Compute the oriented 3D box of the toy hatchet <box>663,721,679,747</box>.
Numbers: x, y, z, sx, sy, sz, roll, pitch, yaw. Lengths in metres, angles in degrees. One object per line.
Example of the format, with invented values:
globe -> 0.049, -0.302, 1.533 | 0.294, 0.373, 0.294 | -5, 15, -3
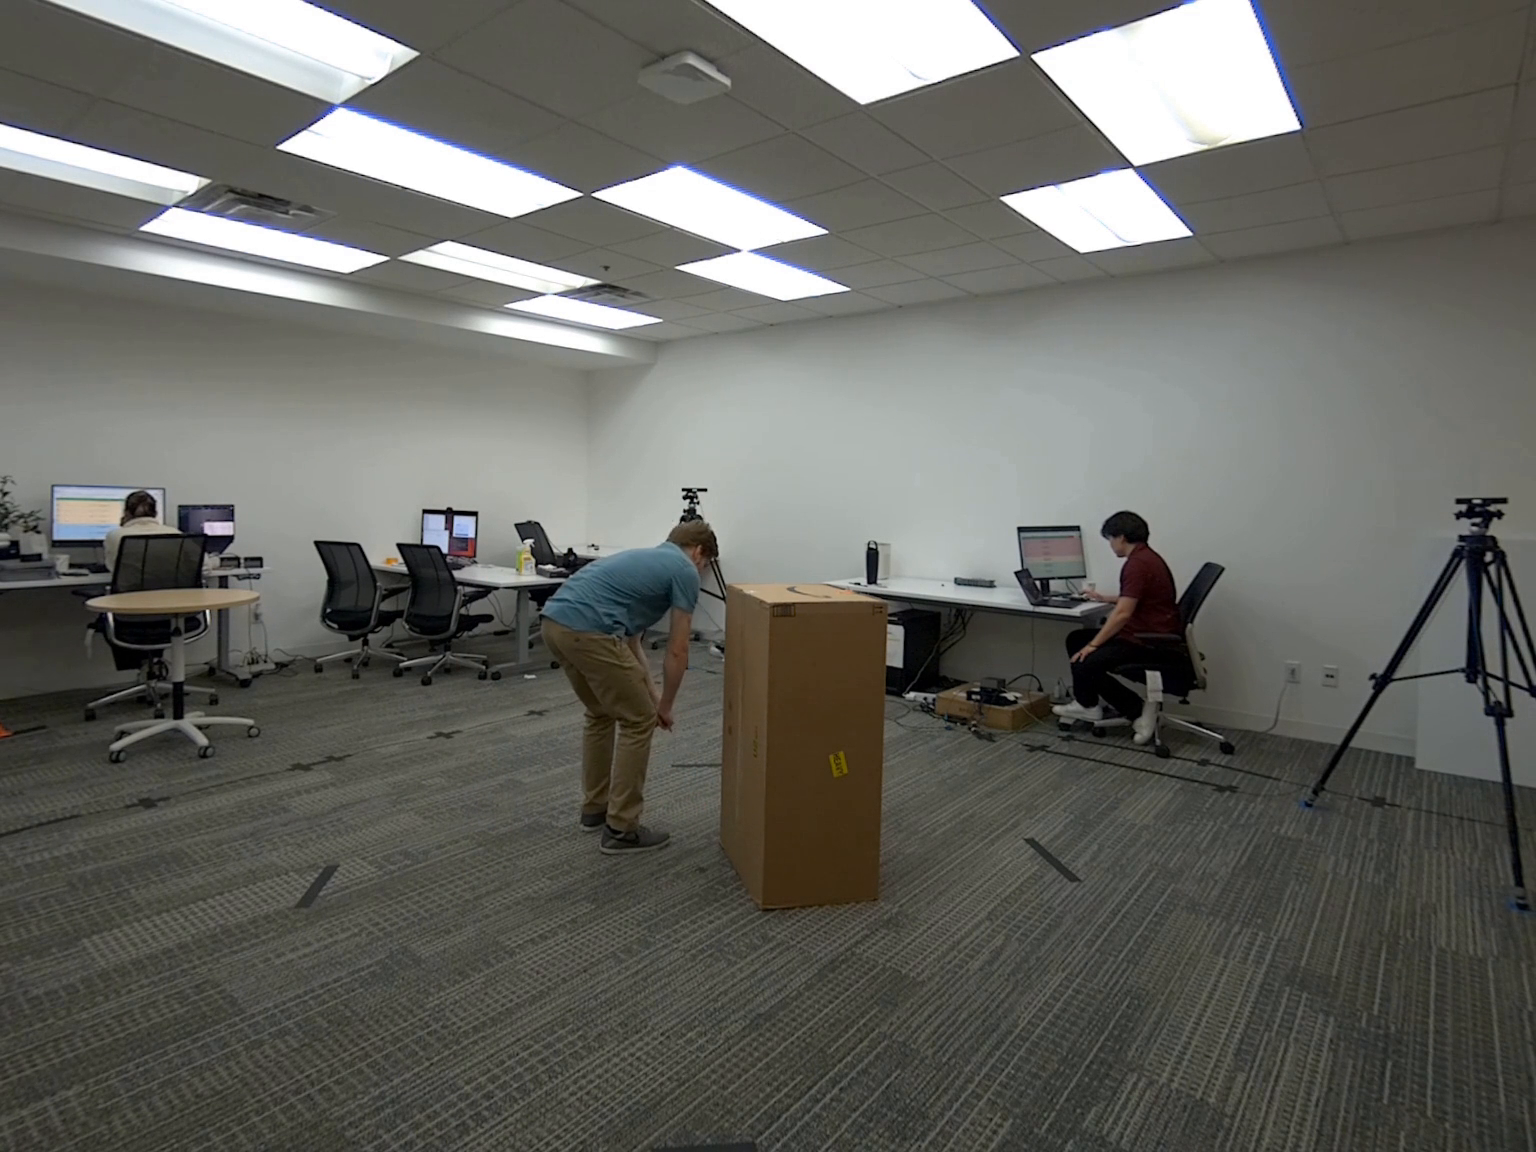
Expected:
toy hatchet -> -0.435, 0.619, 3.593 | 0.029, 0.130, 0.273 | -27, 9, -5
